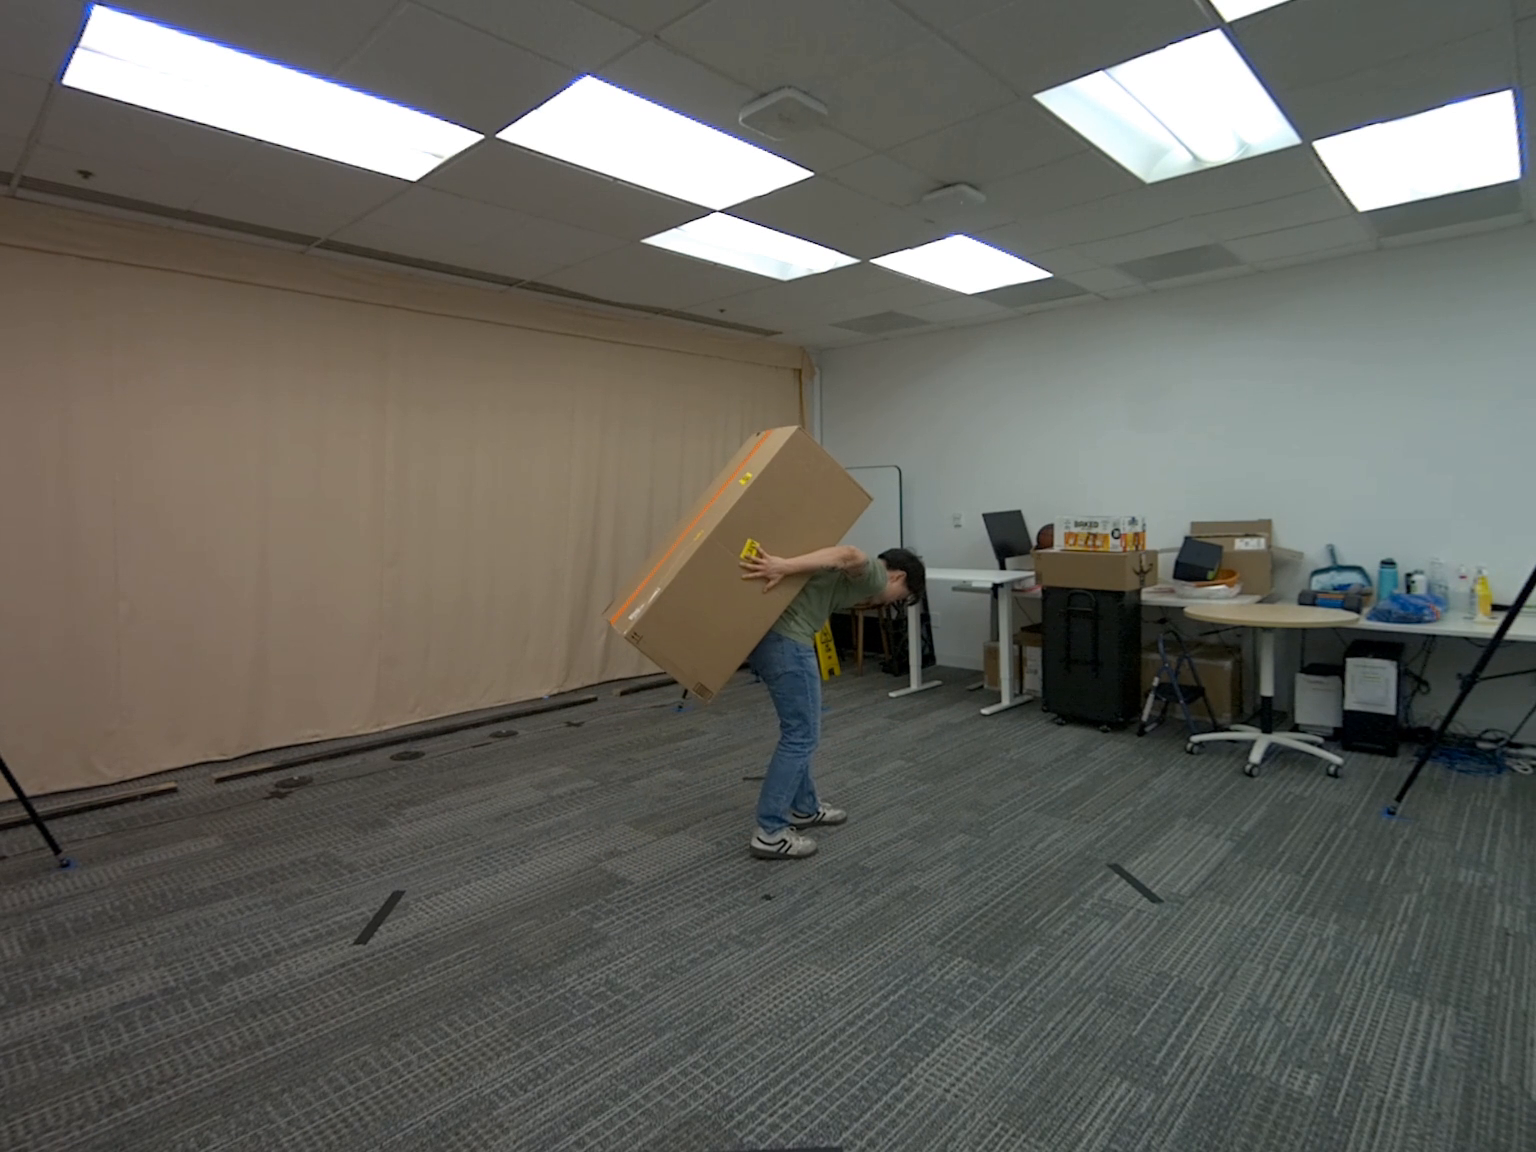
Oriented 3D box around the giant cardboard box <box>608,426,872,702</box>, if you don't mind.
[{"bbox_3d":[-0.143,-0.065,3.408,0.418,1.024,0.589,41,-8,-16],"label":"giant cardboard box"}]
